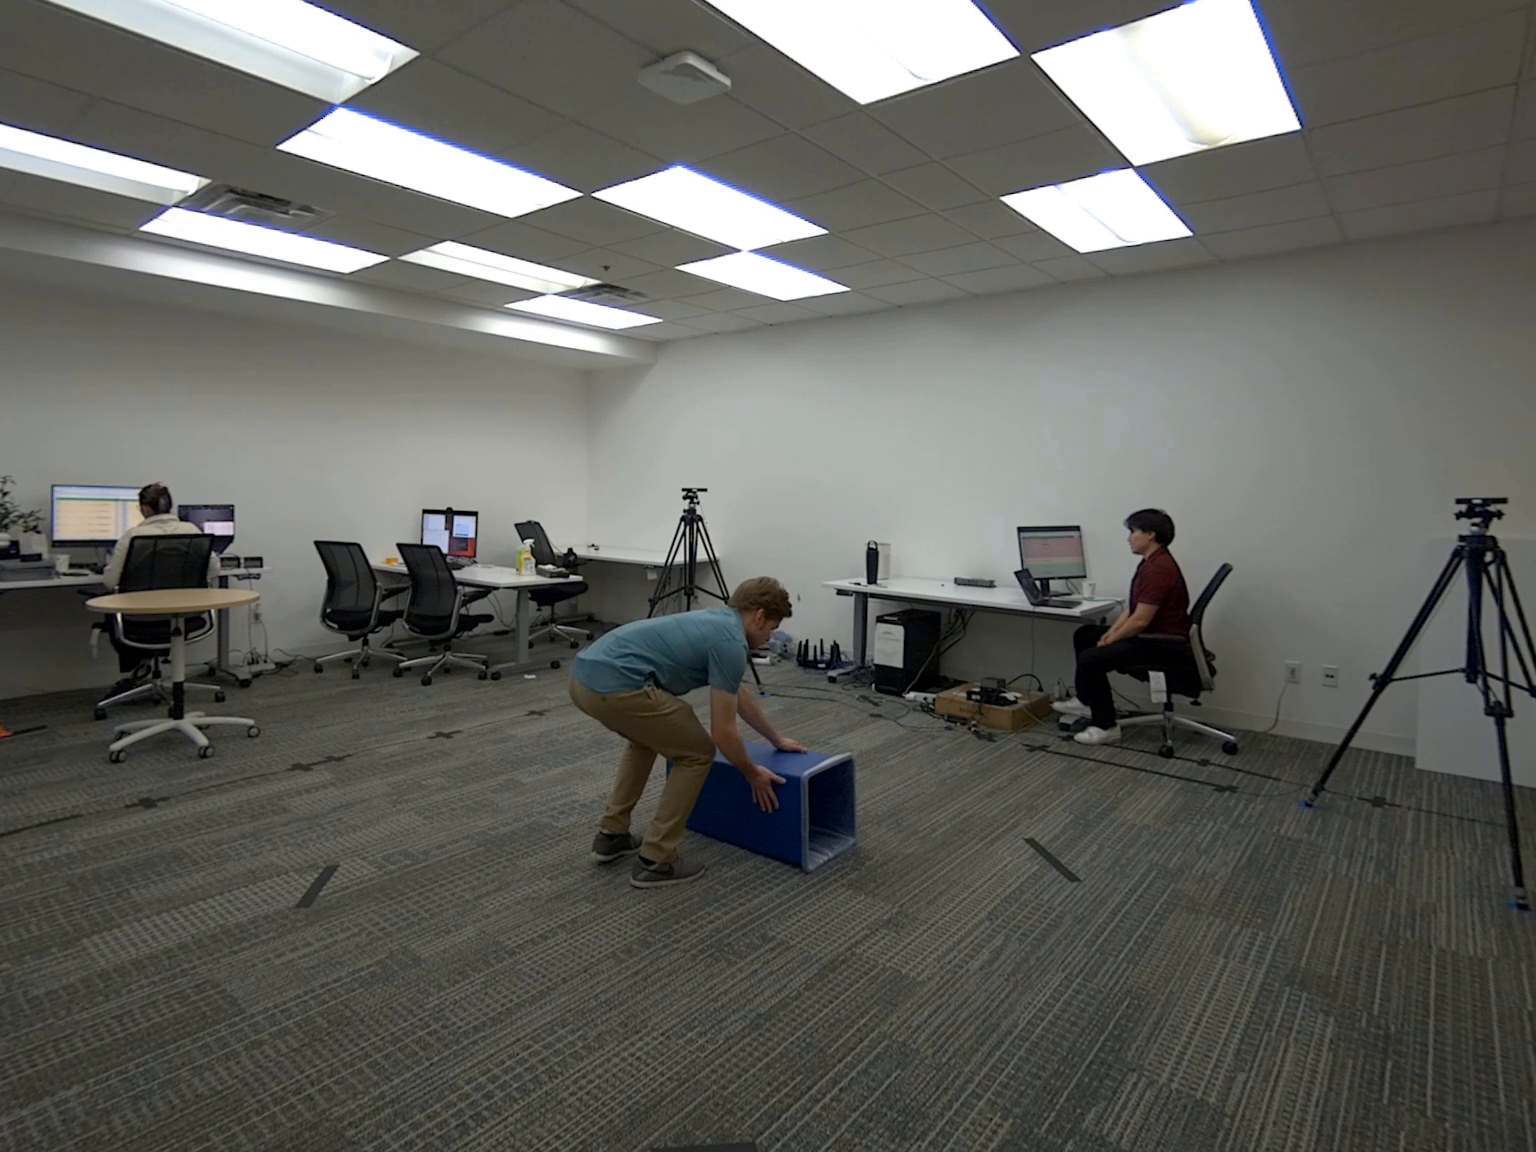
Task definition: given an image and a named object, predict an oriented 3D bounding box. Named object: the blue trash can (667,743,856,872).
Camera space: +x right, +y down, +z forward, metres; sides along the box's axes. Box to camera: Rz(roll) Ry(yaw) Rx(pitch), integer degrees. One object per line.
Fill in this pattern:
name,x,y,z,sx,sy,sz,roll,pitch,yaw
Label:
blue trash can,-0.059,0.884,3.432,0.736,0.377,0.363,1,3,37
